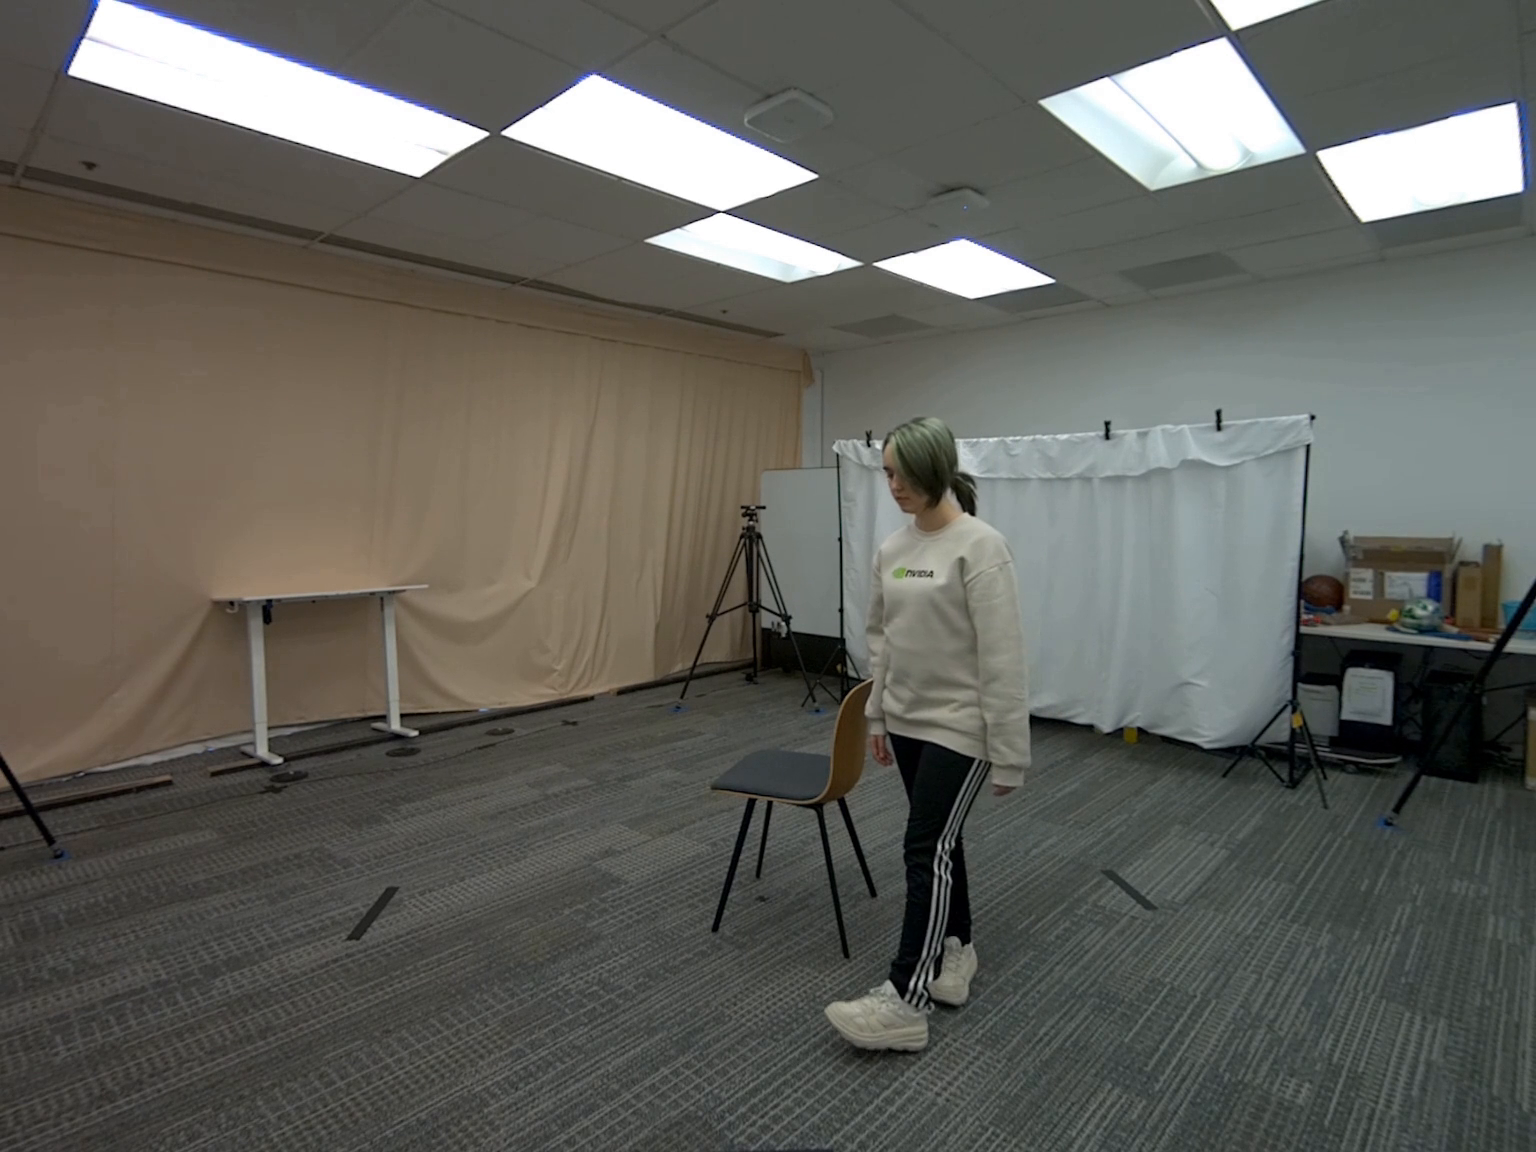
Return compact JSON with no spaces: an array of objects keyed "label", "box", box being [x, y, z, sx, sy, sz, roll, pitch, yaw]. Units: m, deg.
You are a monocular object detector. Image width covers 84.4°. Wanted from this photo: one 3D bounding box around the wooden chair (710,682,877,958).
[{"label":"wooden chair","box":[0.094,0.727,2.846,0.535,0.875,0.468,6,5,20]}]
